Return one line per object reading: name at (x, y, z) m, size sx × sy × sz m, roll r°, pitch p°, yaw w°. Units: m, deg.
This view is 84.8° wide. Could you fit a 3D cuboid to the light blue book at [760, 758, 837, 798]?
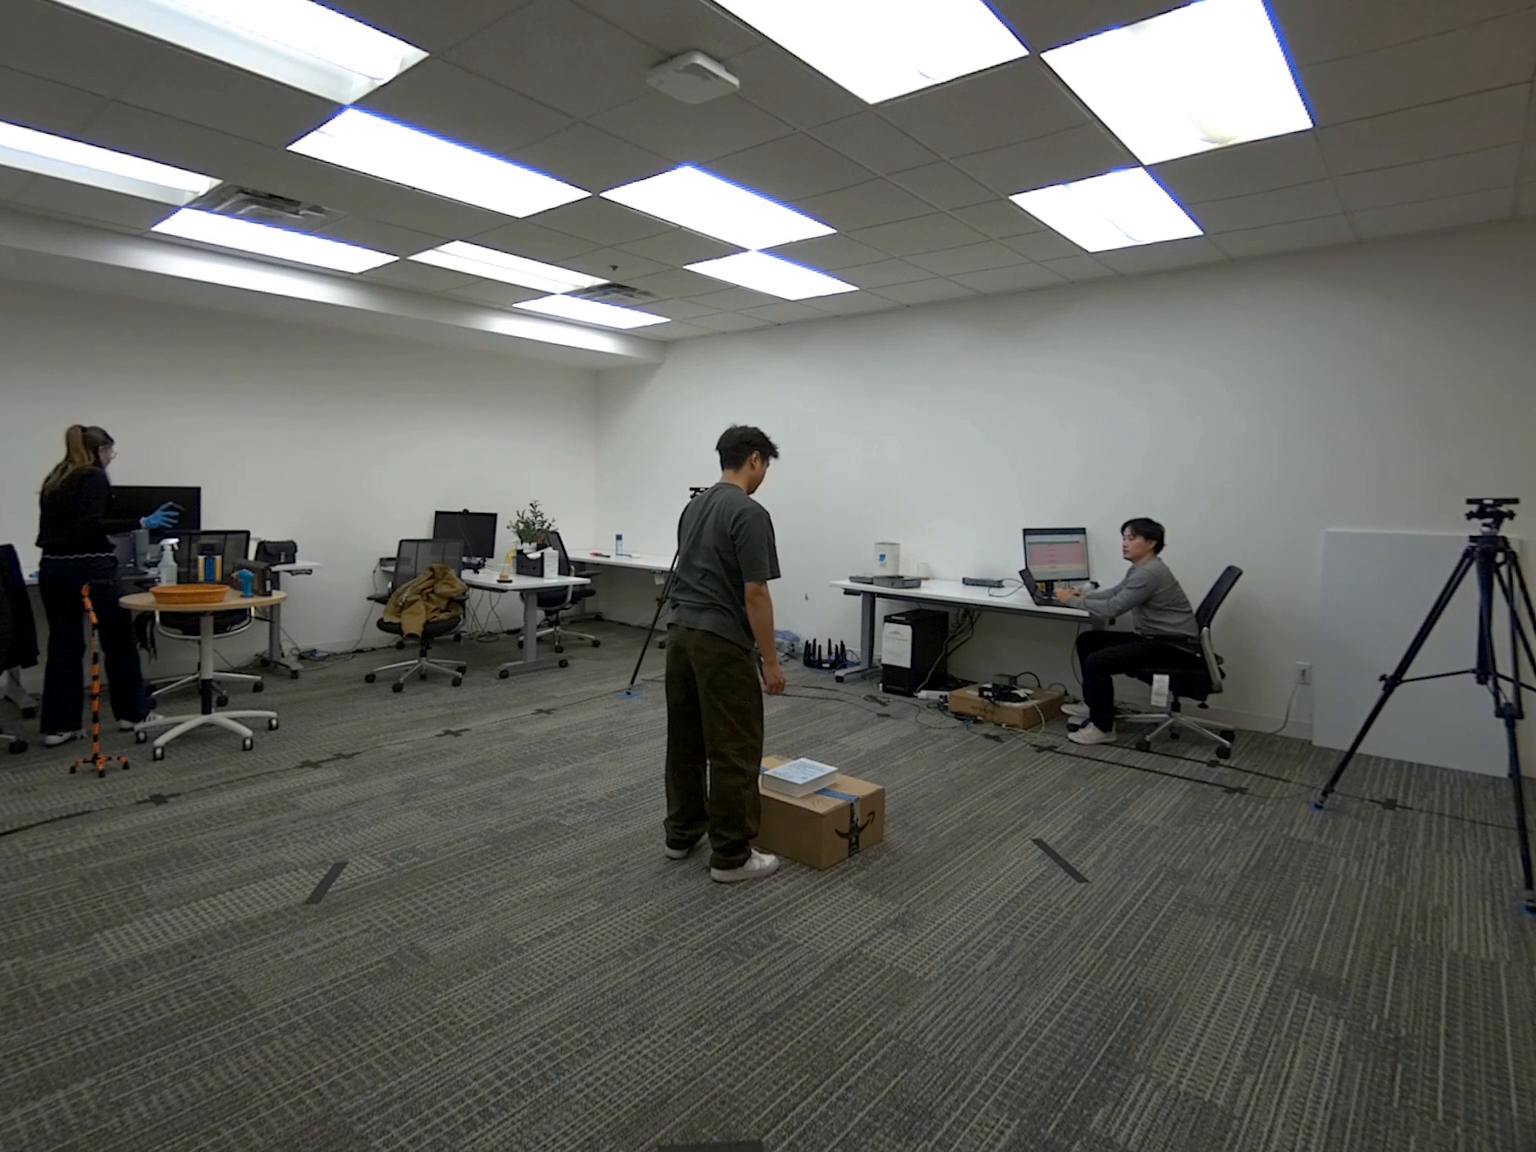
light blue book at (0.121, 0.804, 3.421) m, size 0.198 × 0.059 × 0.253 m, roll 7°, pitch 8°, yaw 40°
